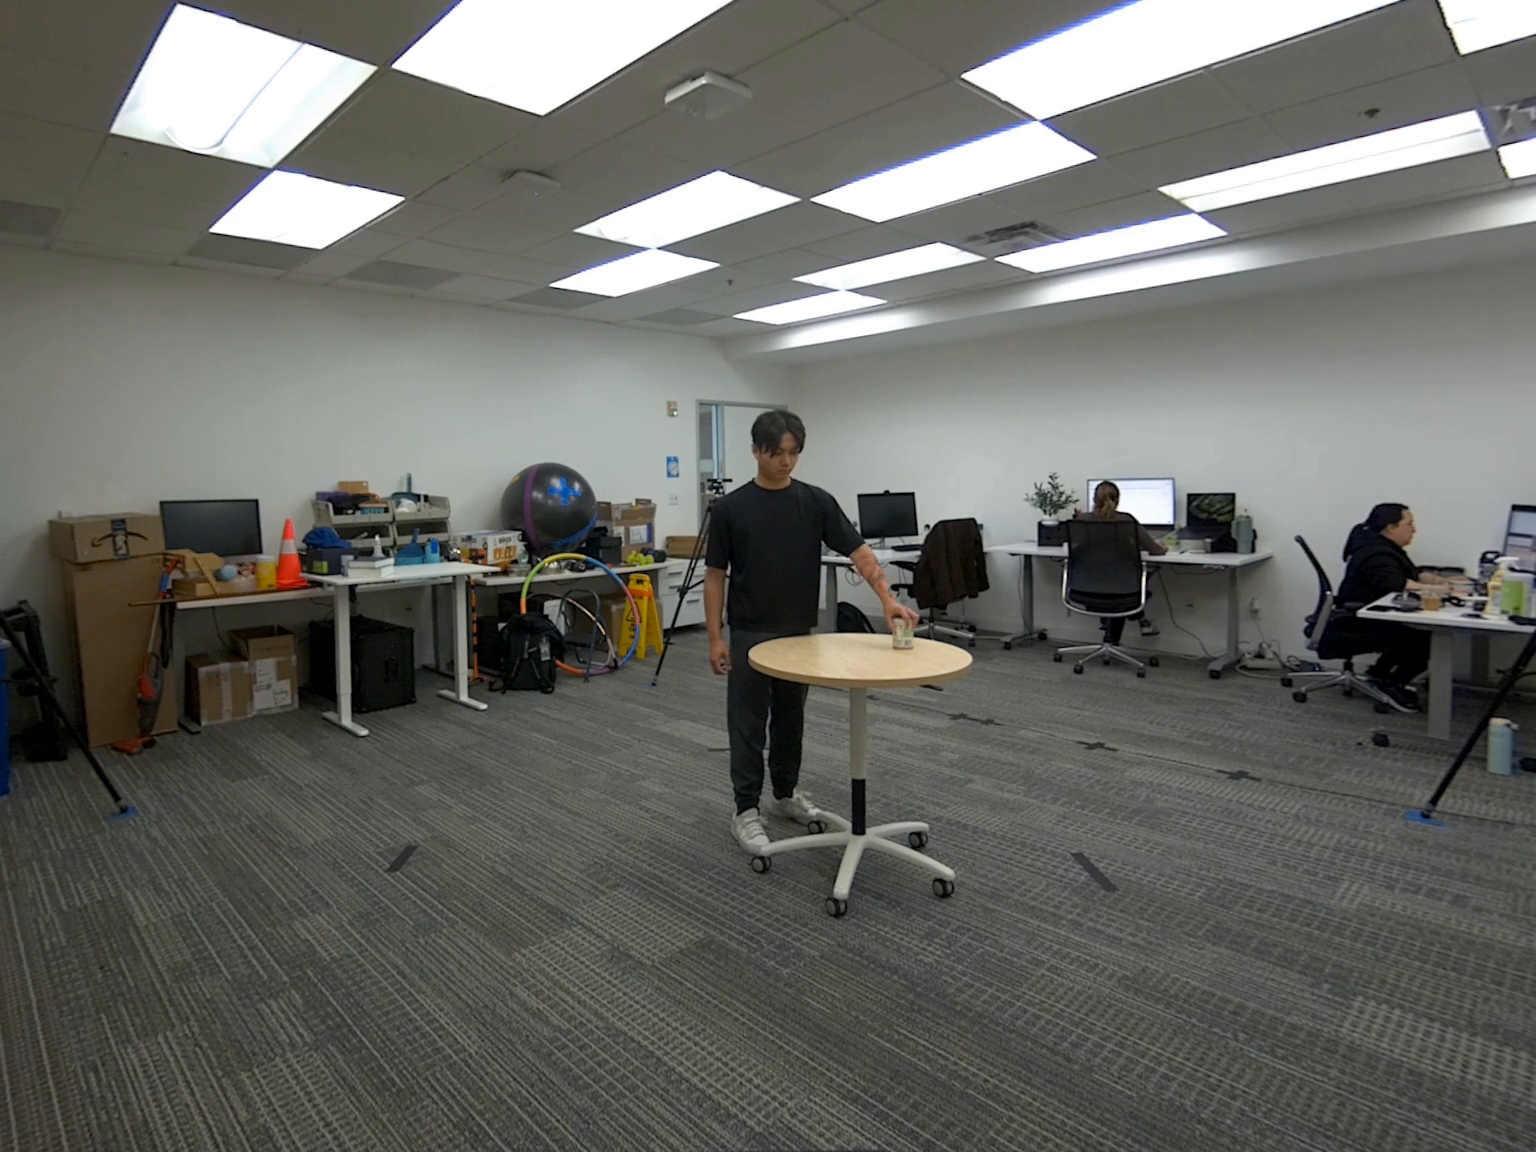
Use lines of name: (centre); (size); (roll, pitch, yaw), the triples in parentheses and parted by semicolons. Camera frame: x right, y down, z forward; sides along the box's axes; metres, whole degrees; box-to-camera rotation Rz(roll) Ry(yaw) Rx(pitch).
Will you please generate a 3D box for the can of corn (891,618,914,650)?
can of corn: (0.487, 0.197, 3.060); (0.074, 0.110, 0.075); (-3, 6, -1)
